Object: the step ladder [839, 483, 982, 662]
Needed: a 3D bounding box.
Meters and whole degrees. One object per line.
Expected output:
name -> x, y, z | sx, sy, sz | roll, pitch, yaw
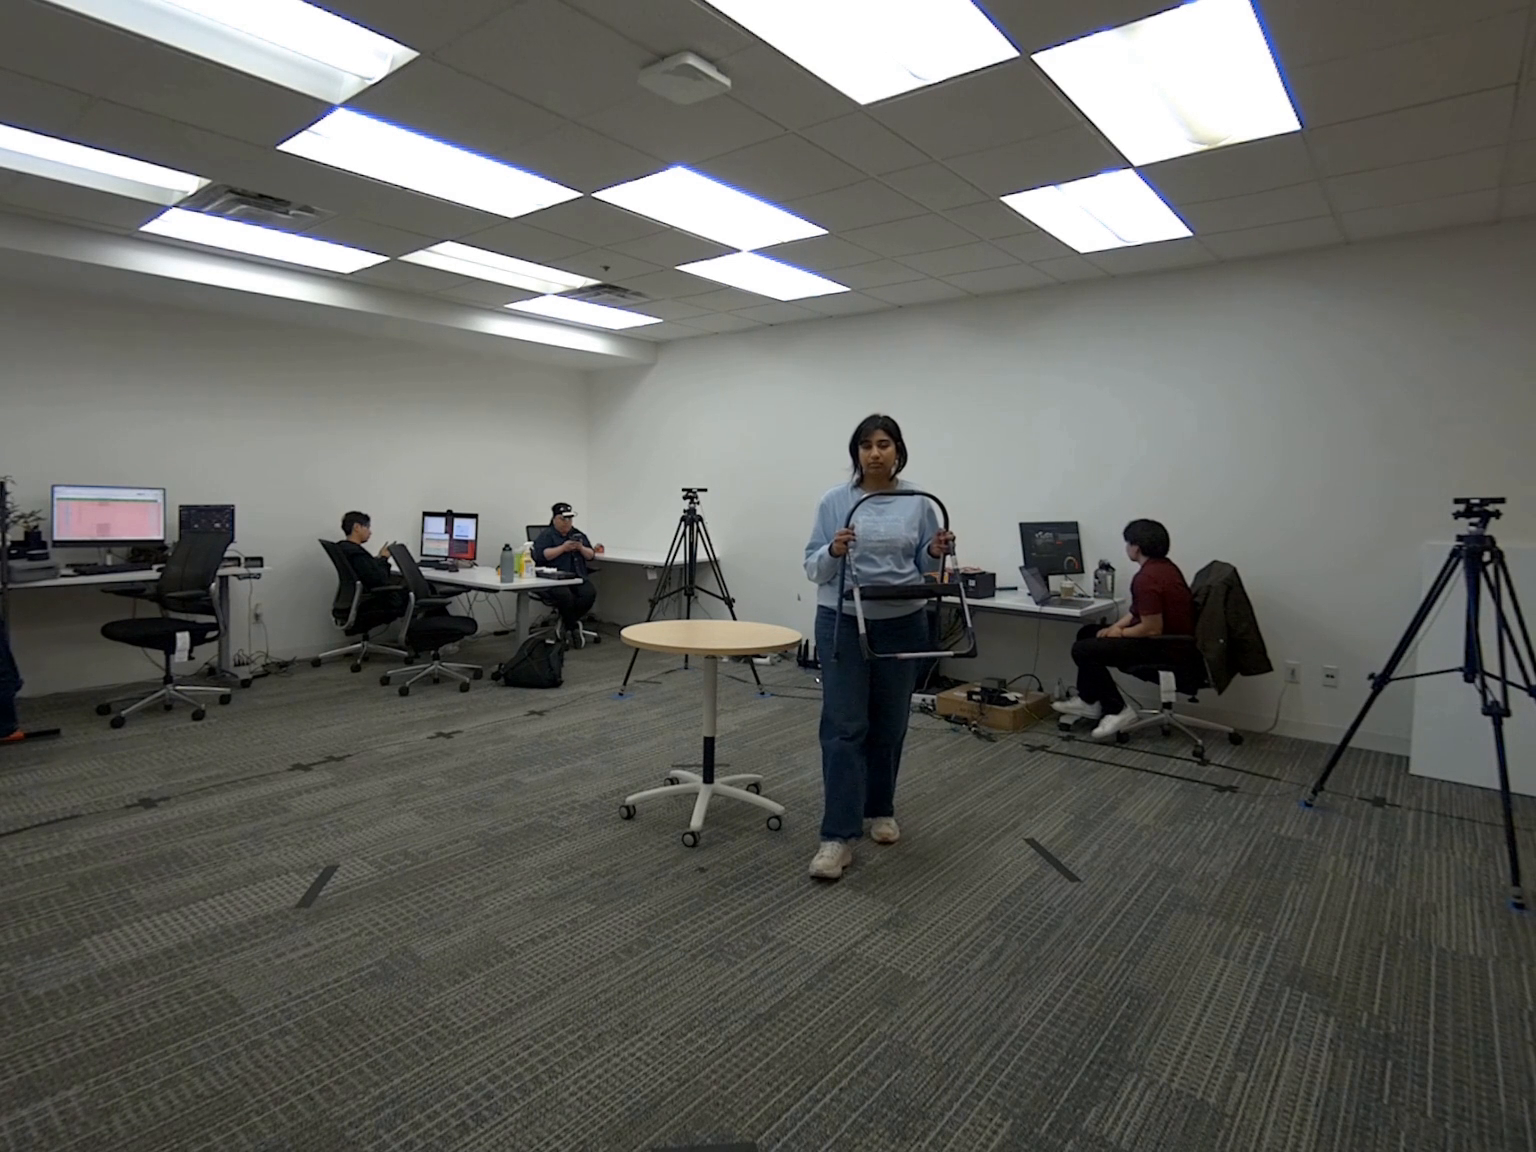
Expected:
step ladder -> 0.470, -0.004, 3.089 | 0.424, 0.610, 0.352 | -1, -7, -14
